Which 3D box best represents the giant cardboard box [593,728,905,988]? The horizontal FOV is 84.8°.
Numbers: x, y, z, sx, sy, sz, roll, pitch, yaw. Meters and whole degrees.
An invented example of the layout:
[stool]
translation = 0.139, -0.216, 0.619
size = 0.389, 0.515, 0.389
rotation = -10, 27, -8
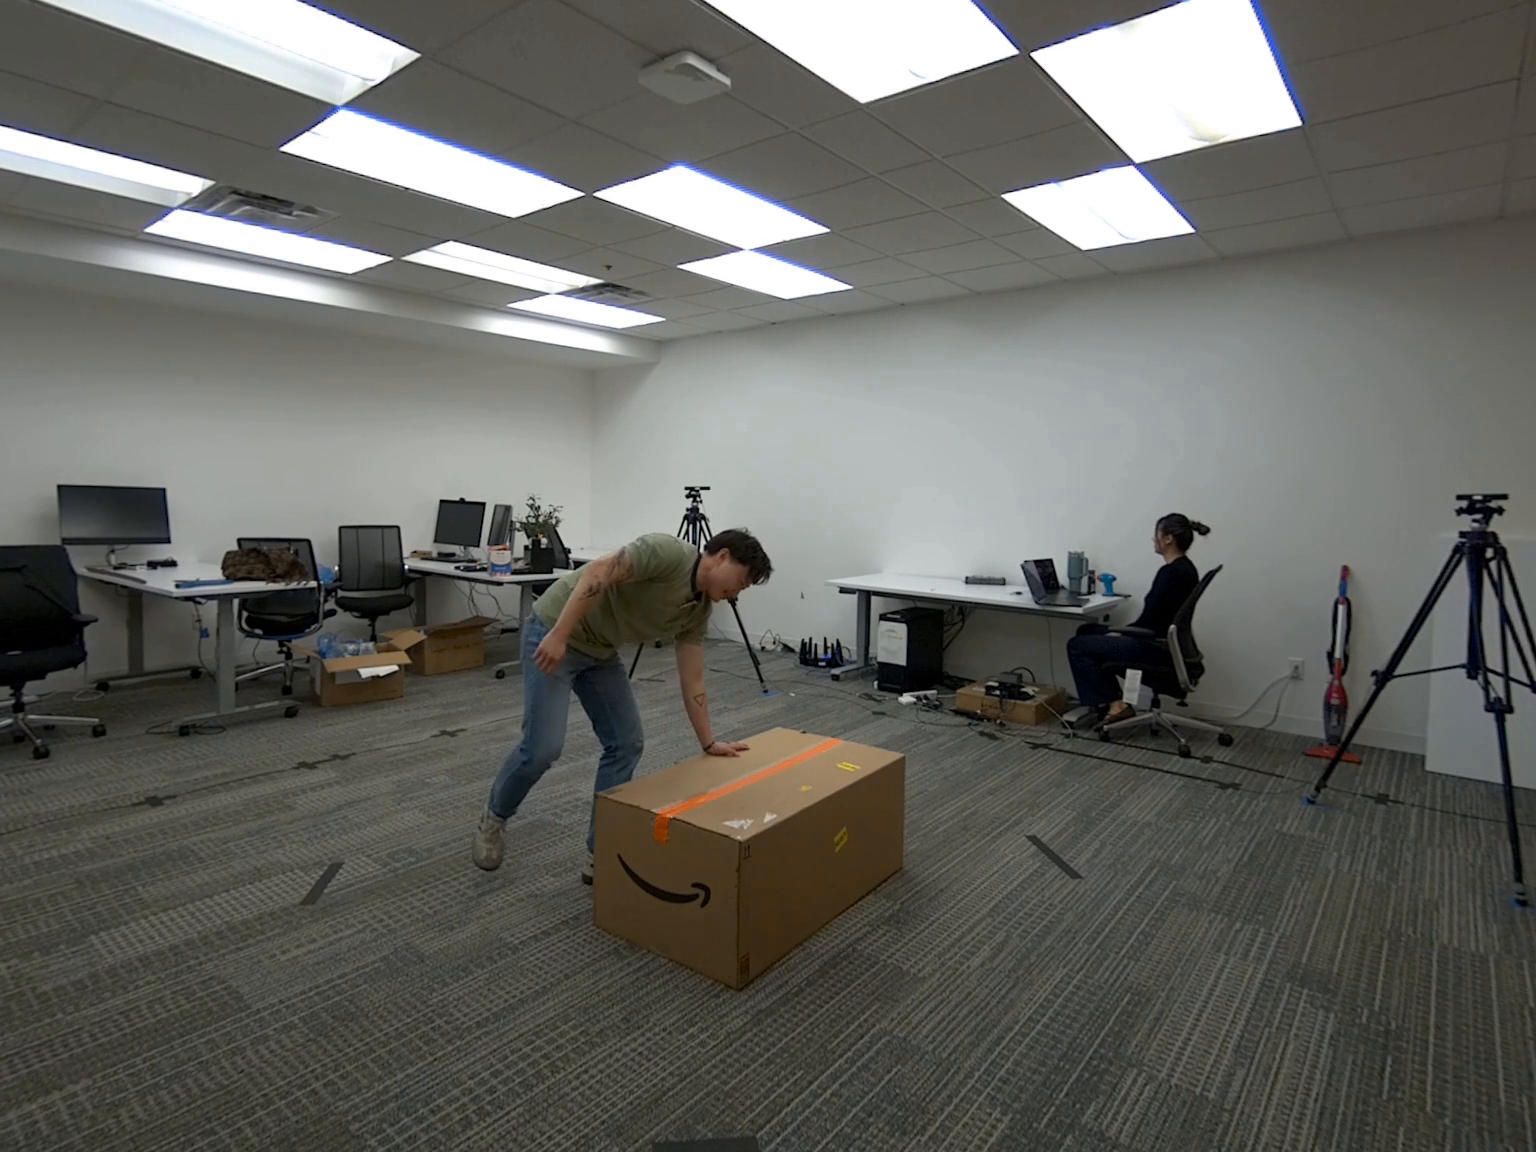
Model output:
[giant cardboard box]
translation = -0.031, 0.876, 2.904
size = 0.596, 0.425, 0.997
rotation = 4, 6, 36
